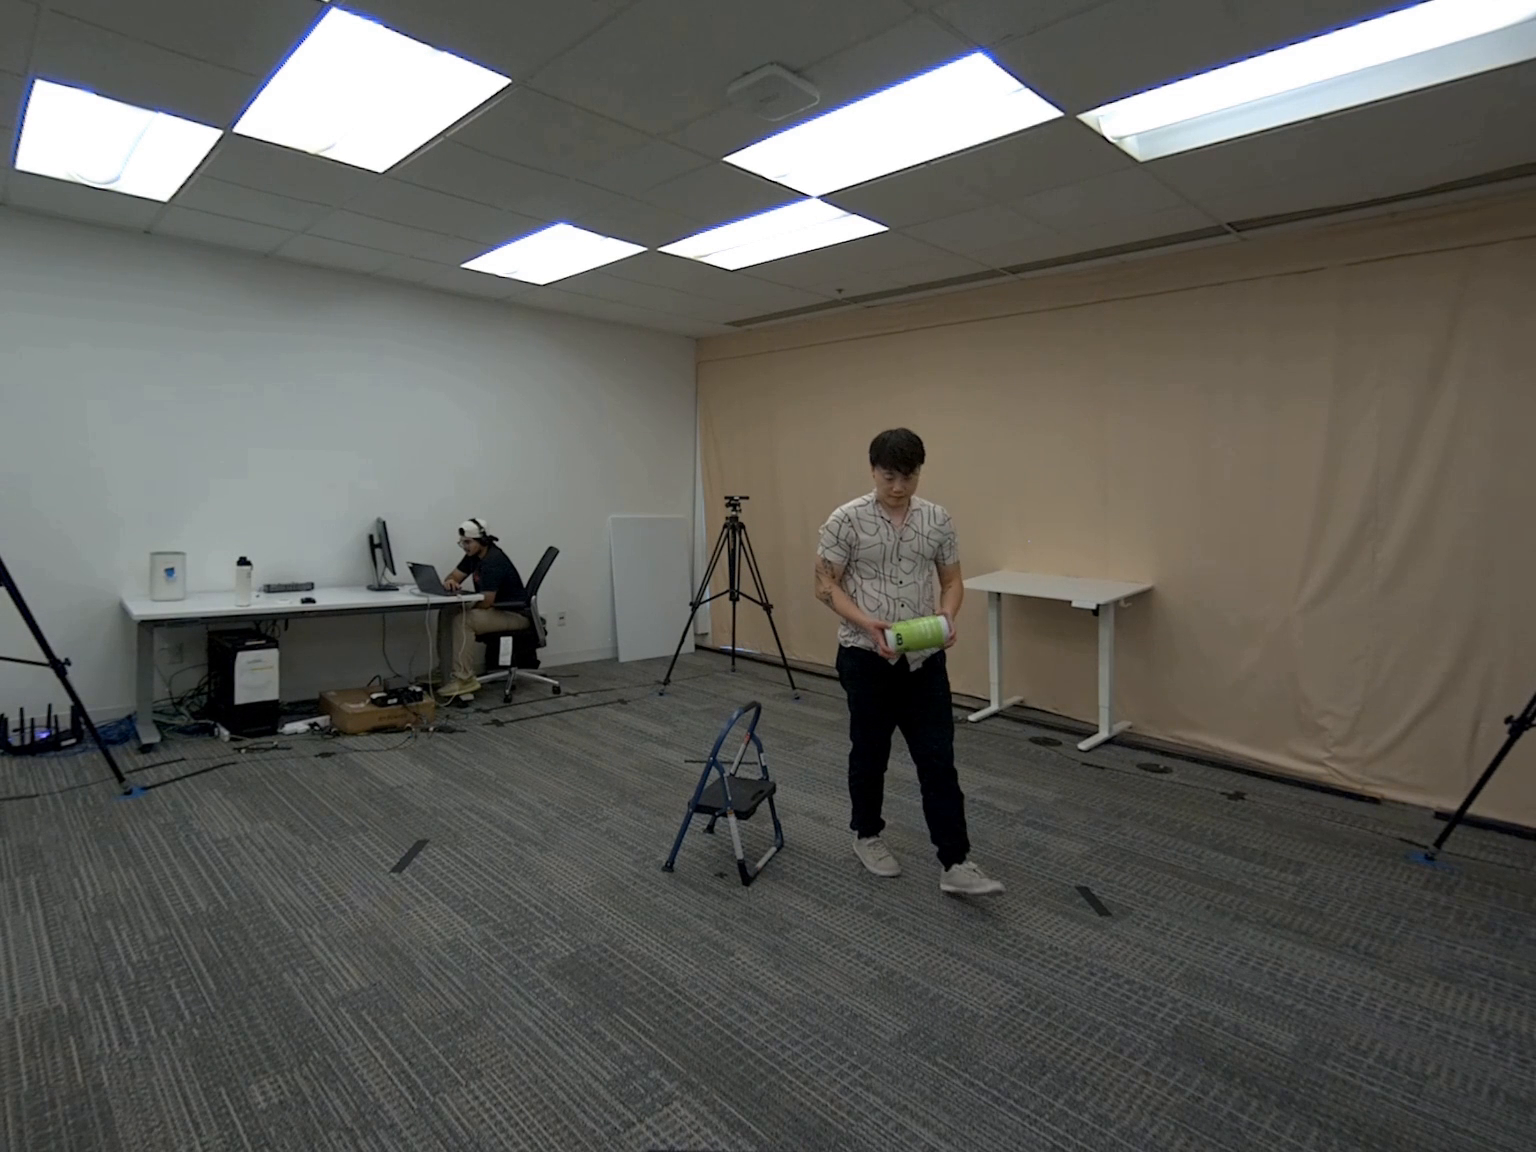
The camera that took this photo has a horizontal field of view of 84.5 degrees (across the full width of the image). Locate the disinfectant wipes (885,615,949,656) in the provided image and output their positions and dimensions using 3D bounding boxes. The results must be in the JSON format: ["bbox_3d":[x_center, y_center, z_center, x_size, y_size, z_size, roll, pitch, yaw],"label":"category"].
[{"bbox_3d":[0.489,0.197,2.885,0.218,0.117,0.118,-9,4,1],"label":"disinfectant wipes"}]
